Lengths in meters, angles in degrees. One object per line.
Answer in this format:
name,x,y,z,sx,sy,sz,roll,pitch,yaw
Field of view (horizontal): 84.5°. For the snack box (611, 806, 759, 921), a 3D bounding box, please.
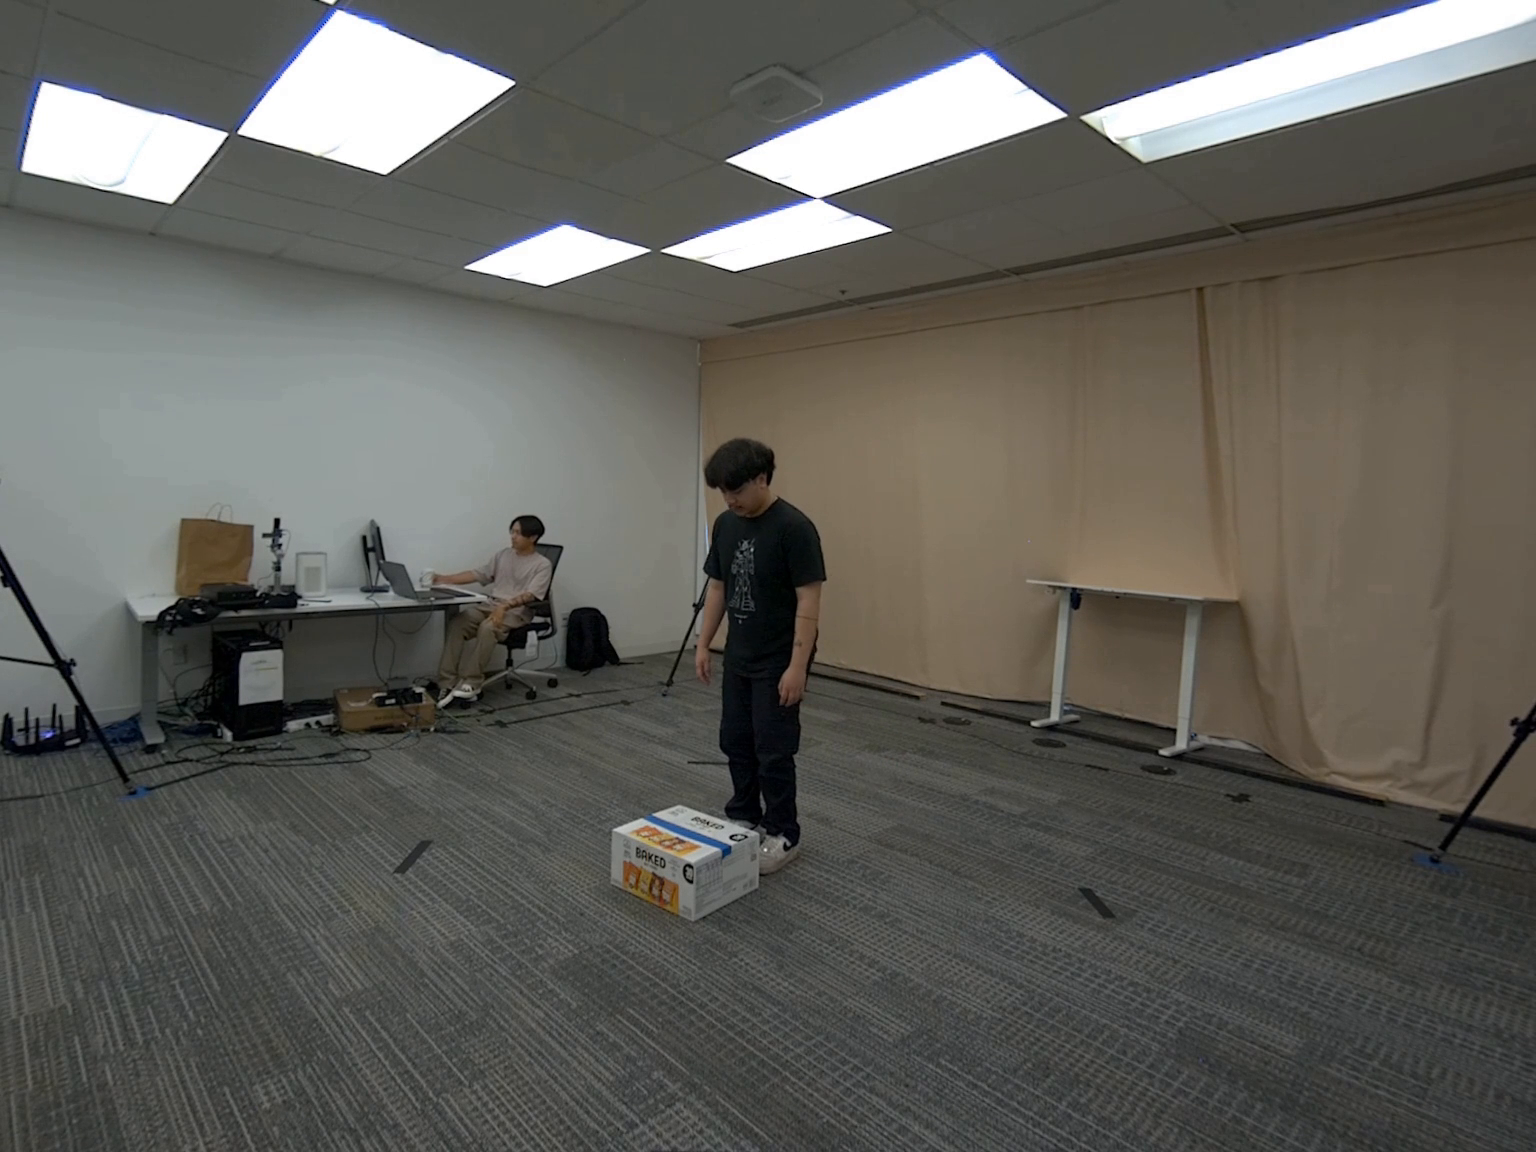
snack box,-0.301,1.013,3.000,0.415,0.205,0.333,5,6,39
